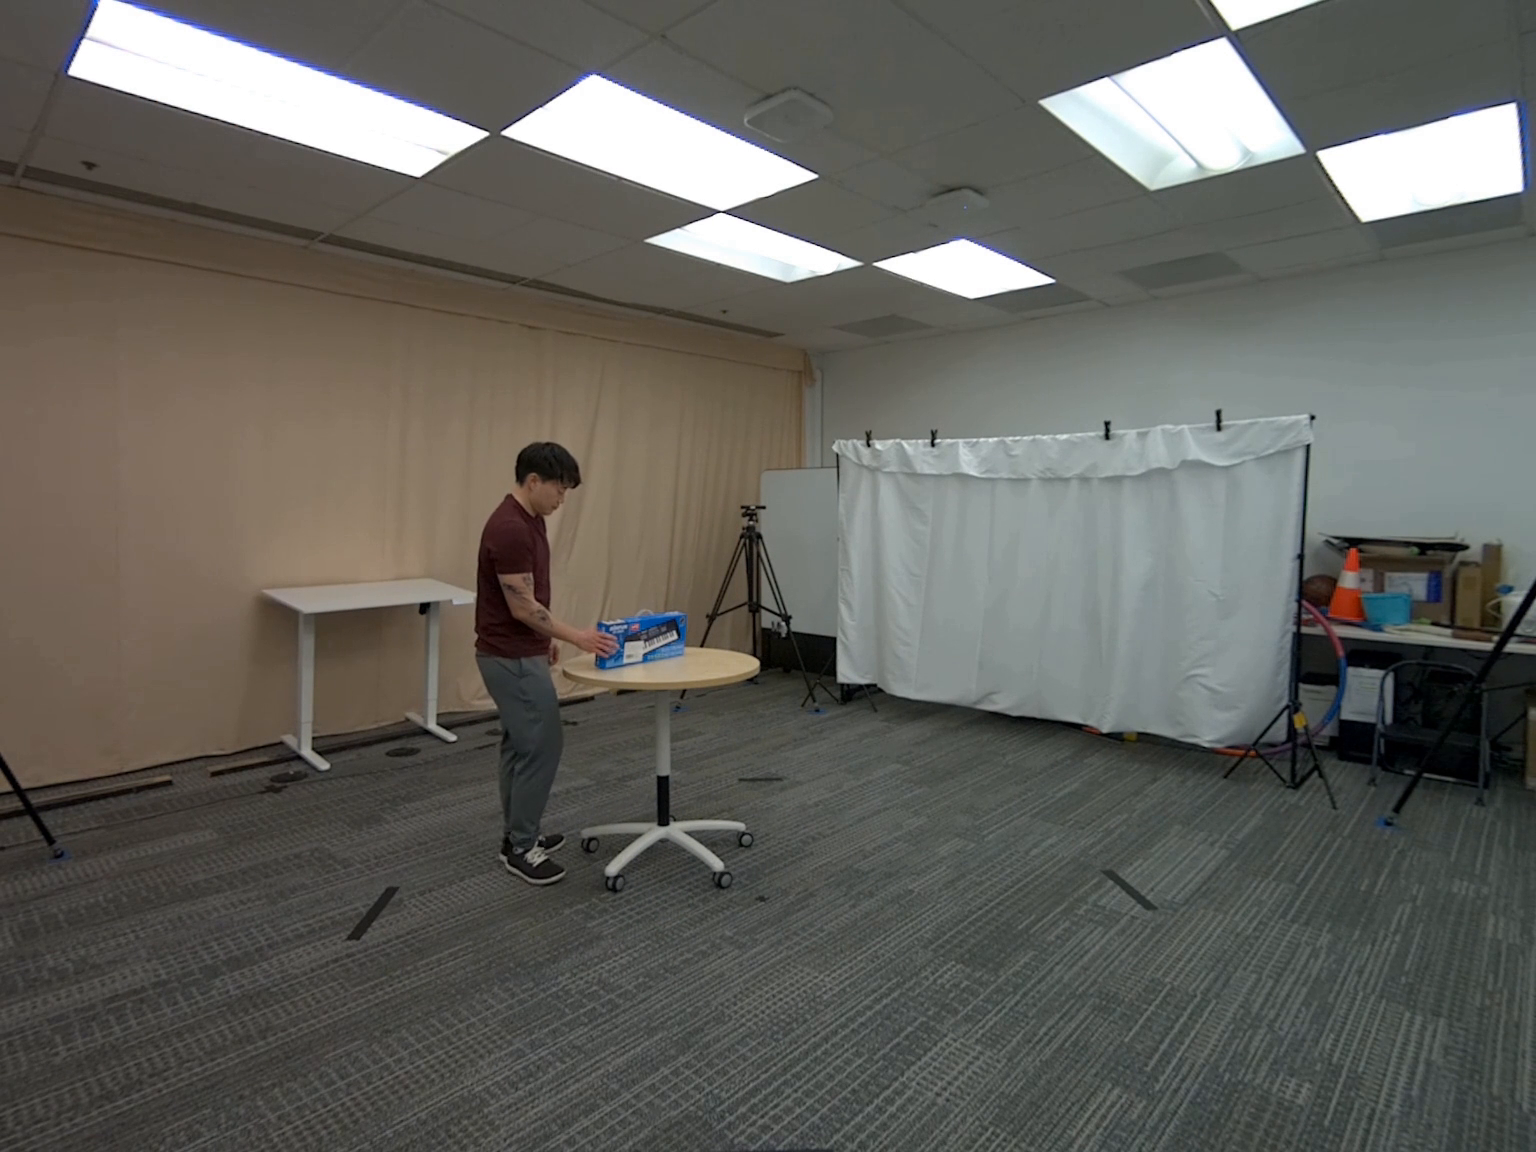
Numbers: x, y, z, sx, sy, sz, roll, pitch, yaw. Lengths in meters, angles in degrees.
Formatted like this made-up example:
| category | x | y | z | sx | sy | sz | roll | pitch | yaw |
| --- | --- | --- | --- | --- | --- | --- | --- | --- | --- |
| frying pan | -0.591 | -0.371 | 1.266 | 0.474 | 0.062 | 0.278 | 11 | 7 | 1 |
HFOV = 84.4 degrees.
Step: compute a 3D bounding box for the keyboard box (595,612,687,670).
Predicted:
| category | x | y | z | sx | sy | sz | roll | pitch | yaw |
| --- | --- | --- | --- | --- | --- | --- | --- | --- | --- |
| keyboard box | -0.493 | 0.252 | 3.316 | 0.061 | 0.175 | 0.424 | 9 | 9 | 38 |
